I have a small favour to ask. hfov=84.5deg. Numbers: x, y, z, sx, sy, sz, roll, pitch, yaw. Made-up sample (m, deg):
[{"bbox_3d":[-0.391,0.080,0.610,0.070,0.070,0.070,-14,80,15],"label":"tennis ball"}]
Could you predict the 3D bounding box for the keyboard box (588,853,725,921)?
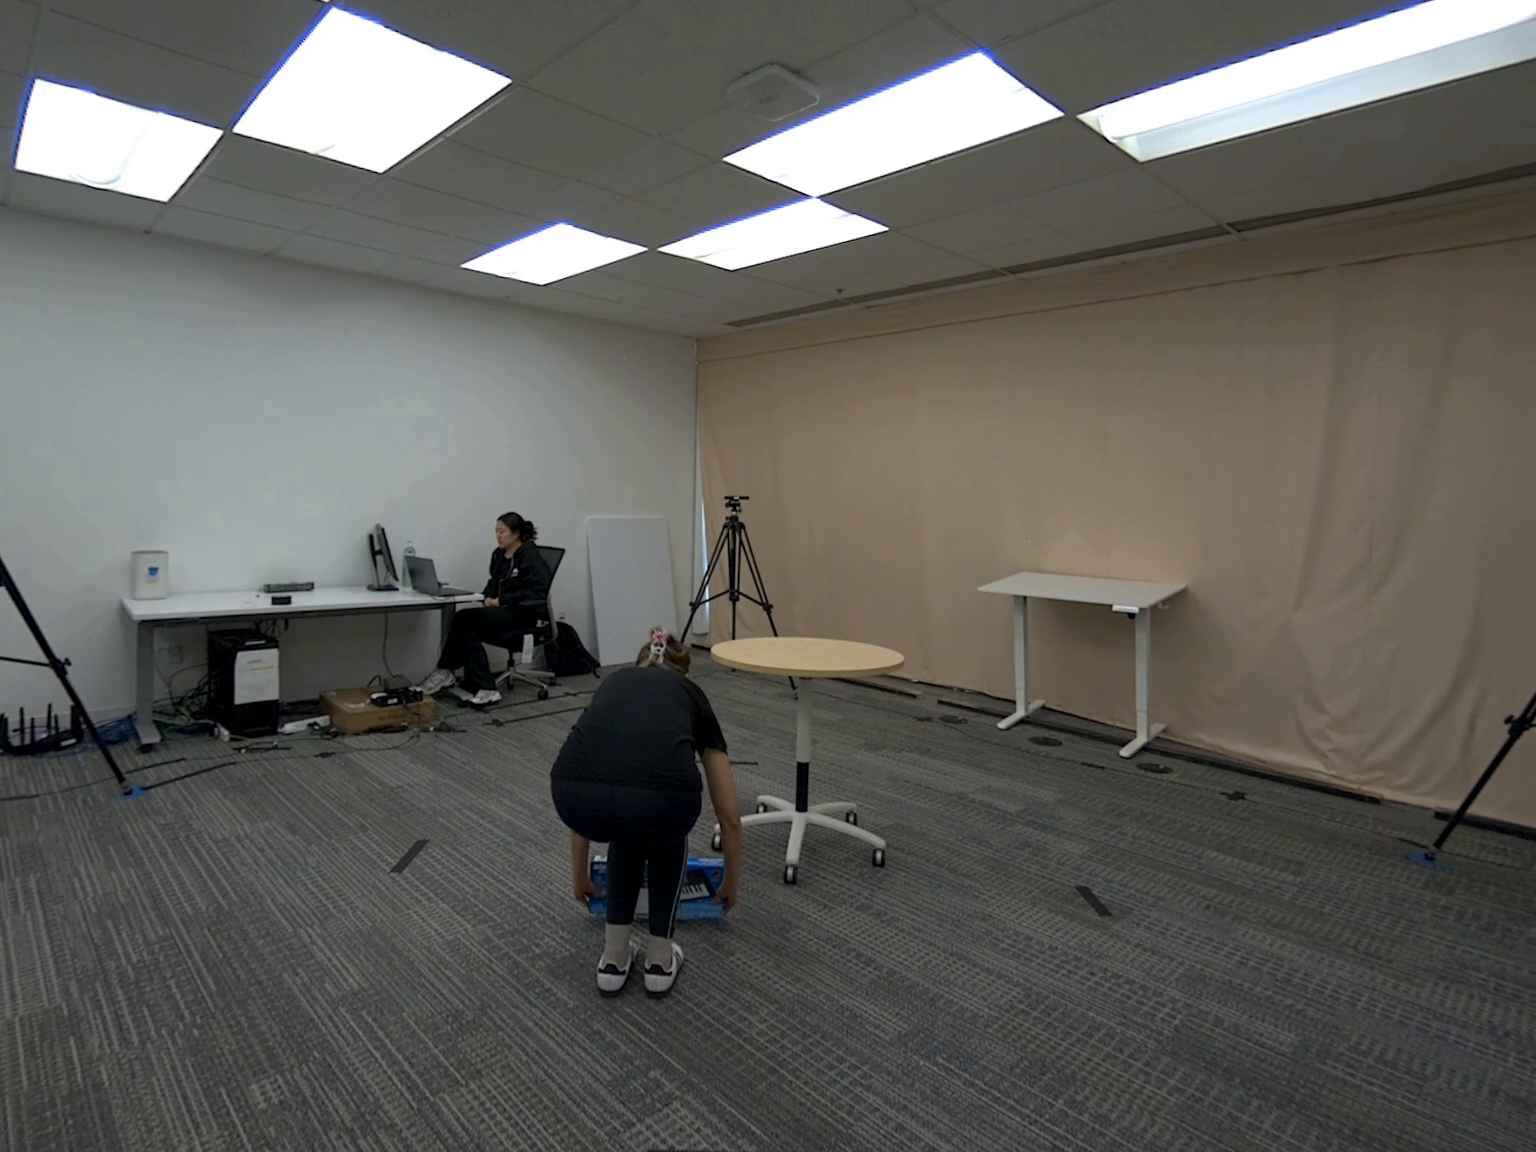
[{"bbox_3d":[-0.370,1.013,2.757,0.437,0.176,0.059,2,2,0],"label":"keyboard box"}]
